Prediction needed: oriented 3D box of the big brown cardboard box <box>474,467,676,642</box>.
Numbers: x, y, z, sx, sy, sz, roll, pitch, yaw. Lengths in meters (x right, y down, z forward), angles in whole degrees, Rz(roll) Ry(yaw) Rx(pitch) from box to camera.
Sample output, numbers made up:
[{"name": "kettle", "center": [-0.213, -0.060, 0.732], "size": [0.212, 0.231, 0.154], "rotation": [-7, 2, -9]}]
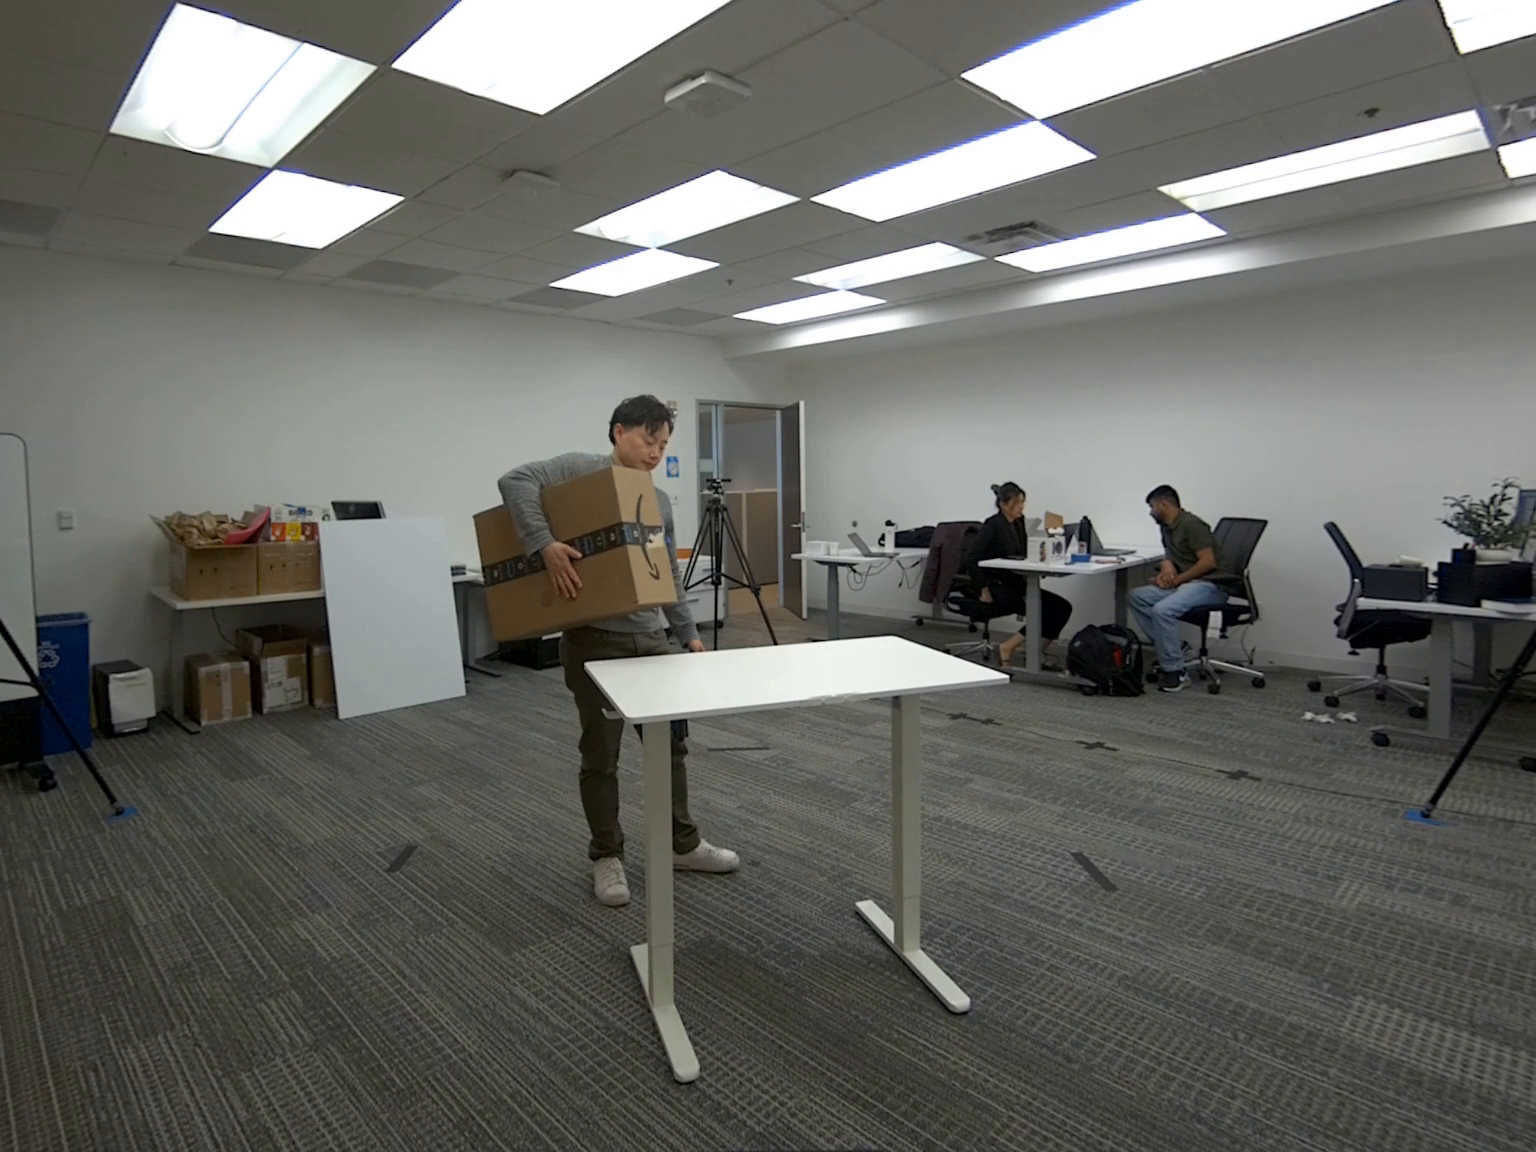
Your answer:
[{"name": "big brown cardboard box", "center": [-0.609, -0.057, 2.667], "size": [0.599, 0.421, 0.227], "rotation": [-14, -8, 27]}]
